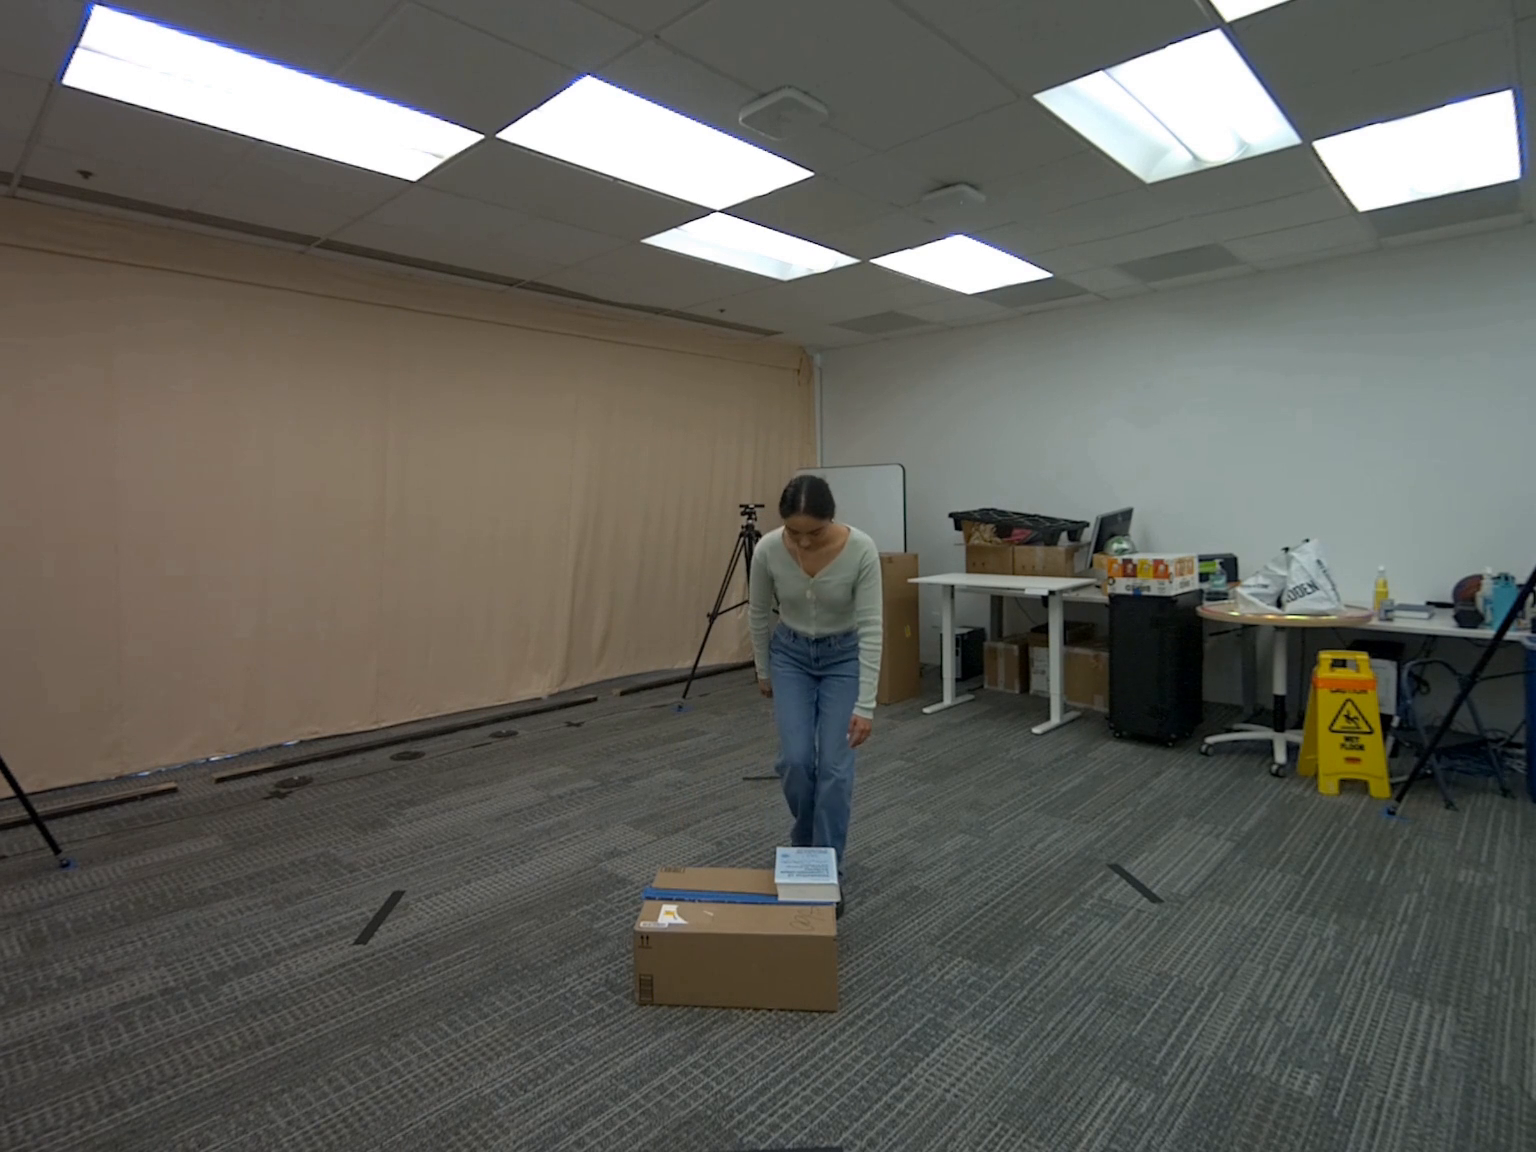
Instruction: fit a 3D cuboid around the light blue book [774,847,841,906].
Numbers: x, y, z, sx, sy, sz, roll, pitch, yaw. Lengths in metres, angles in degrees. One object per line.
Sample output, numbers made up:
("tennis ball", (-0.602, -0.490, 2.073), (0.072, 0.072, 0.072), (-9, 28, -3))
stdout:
("light blue book", (0.119, 0.917, 2.620), (0.192, 0.059, 0.260), (-2, 4, 4))
